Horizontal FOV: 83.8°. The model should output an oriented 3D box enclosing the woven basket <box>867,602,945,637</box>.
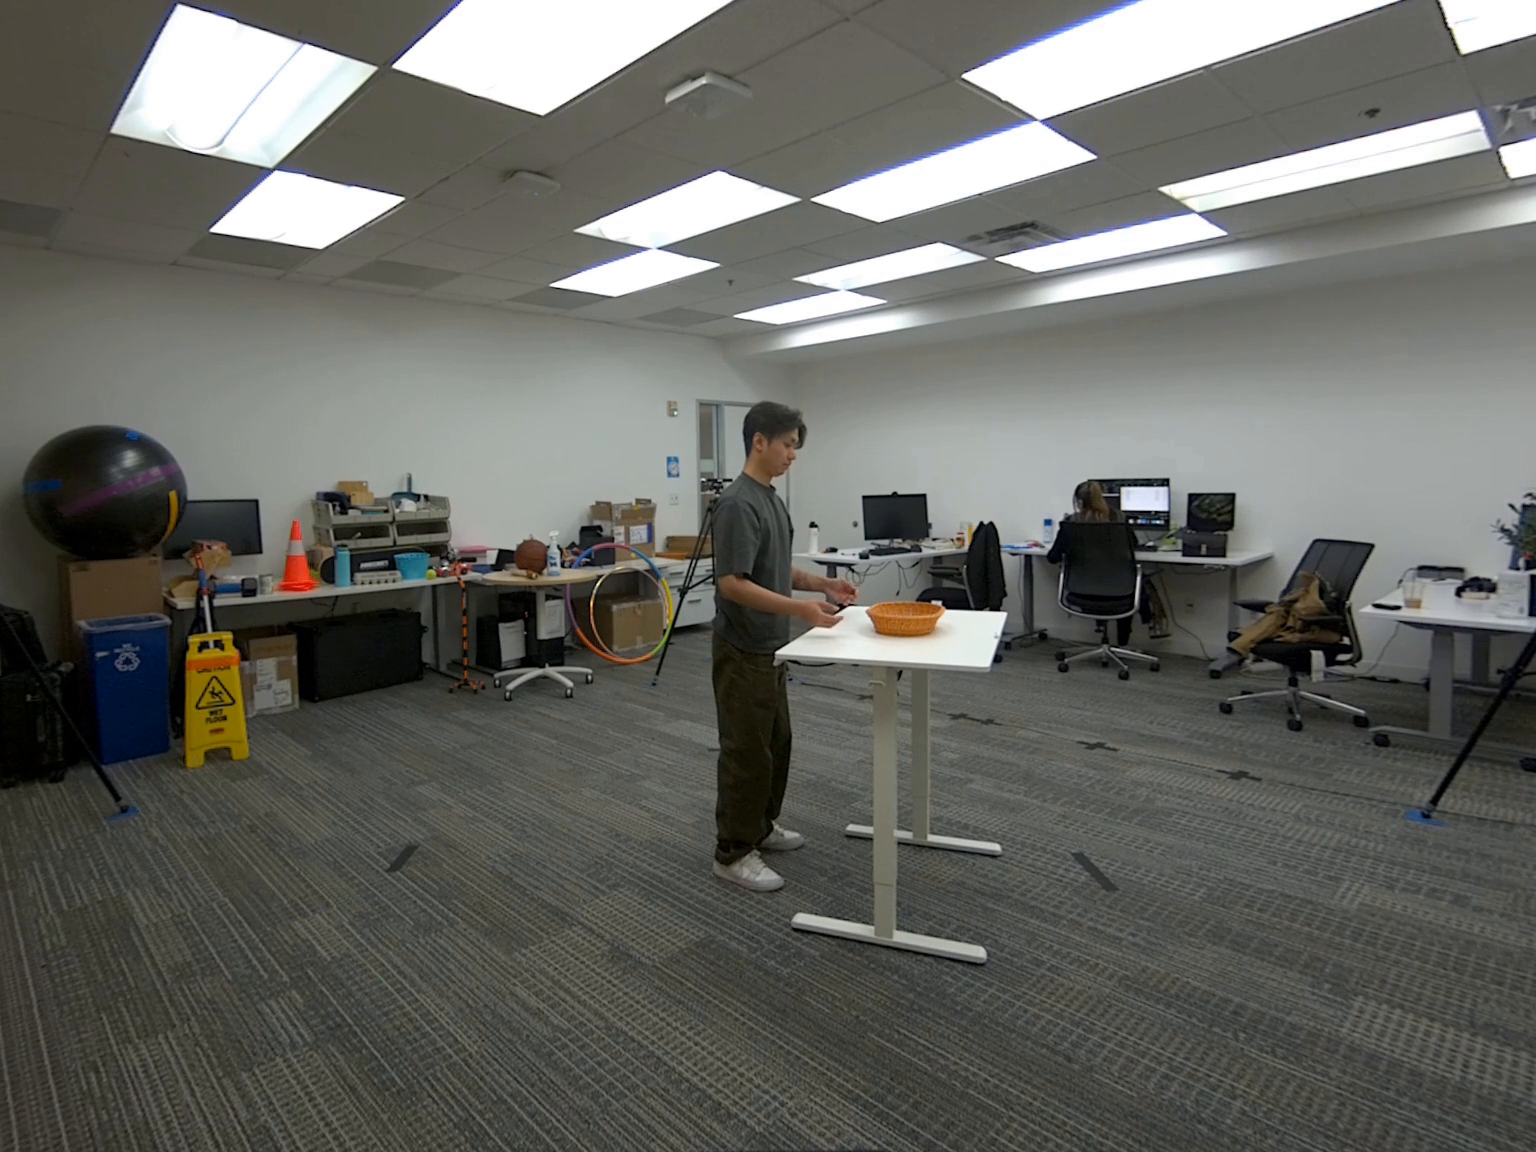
[{"bbox_3d":[0.467,0.150,2.870,0.257,0.073,0.345,2,7,19],"label":"woven basket"}]
